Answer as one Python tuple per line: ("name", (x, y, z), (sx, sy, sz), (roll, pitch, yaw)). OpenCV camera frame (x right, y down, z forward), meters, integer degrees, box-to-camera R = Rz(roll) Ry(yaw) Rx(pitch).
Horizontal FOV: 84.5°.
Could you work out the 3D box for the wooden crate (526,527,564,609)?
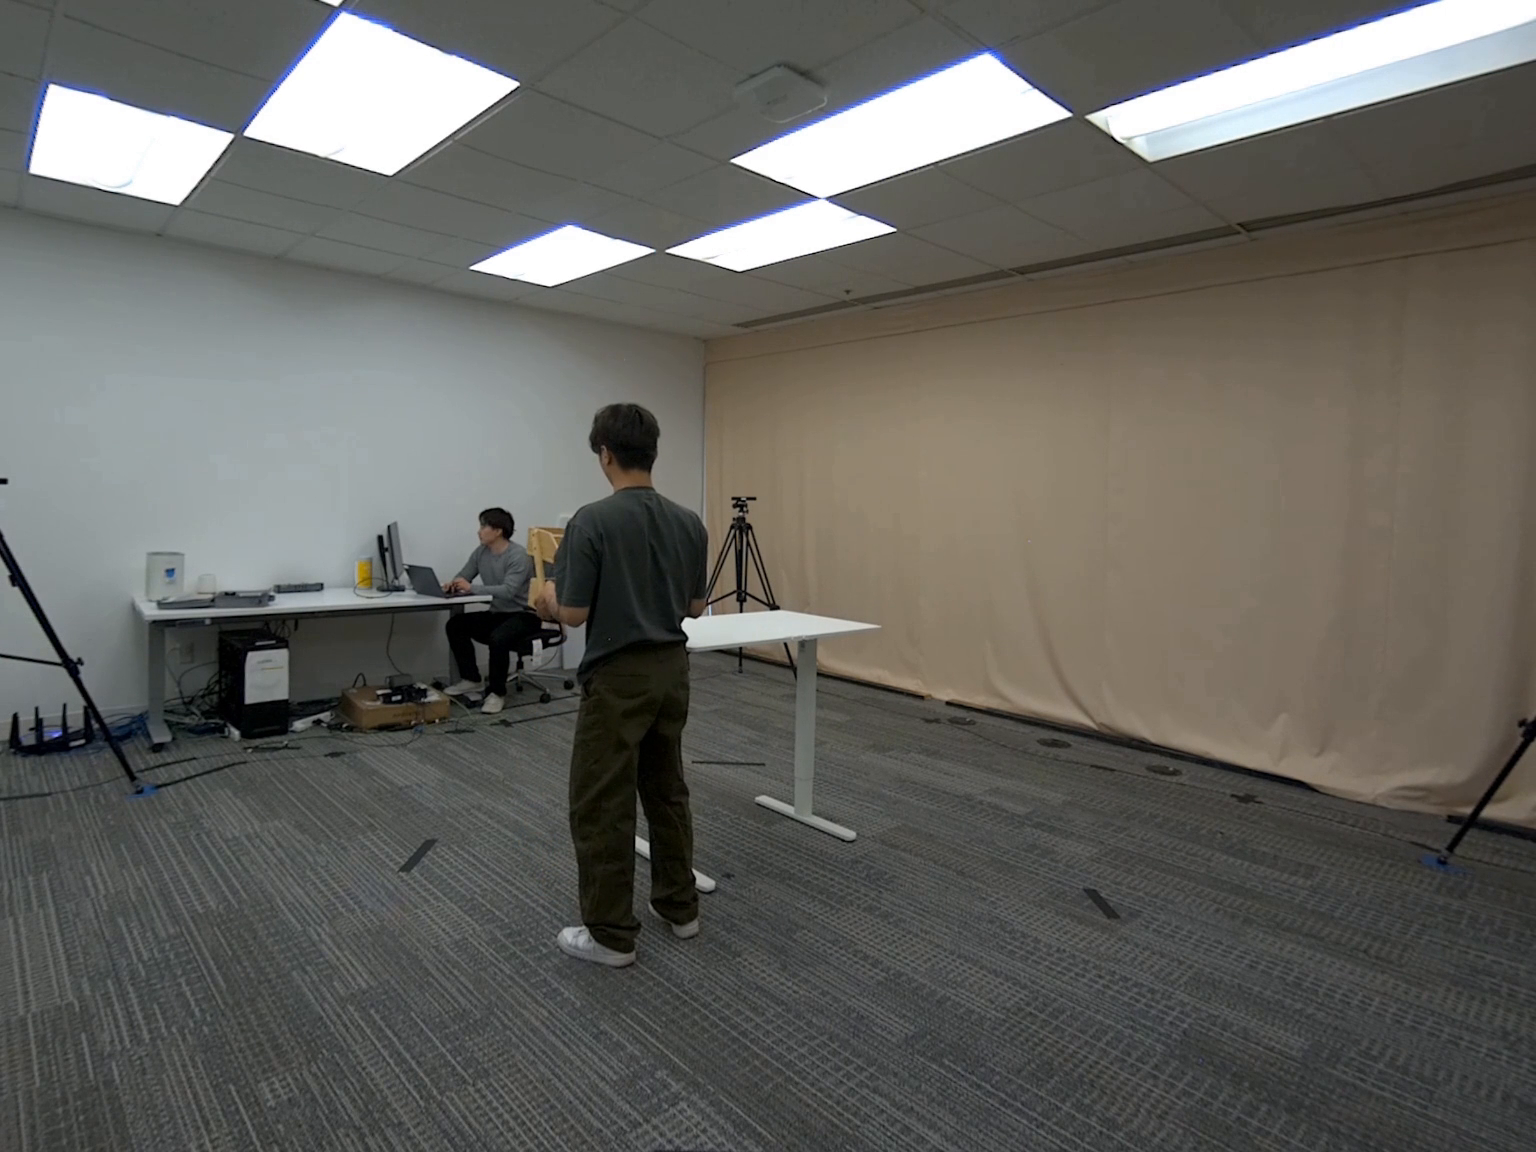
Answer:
("wooden crate", (-0.614, -0.008, 2.820), (0.317, 0.272, 0.310), (1, 9, -41))
